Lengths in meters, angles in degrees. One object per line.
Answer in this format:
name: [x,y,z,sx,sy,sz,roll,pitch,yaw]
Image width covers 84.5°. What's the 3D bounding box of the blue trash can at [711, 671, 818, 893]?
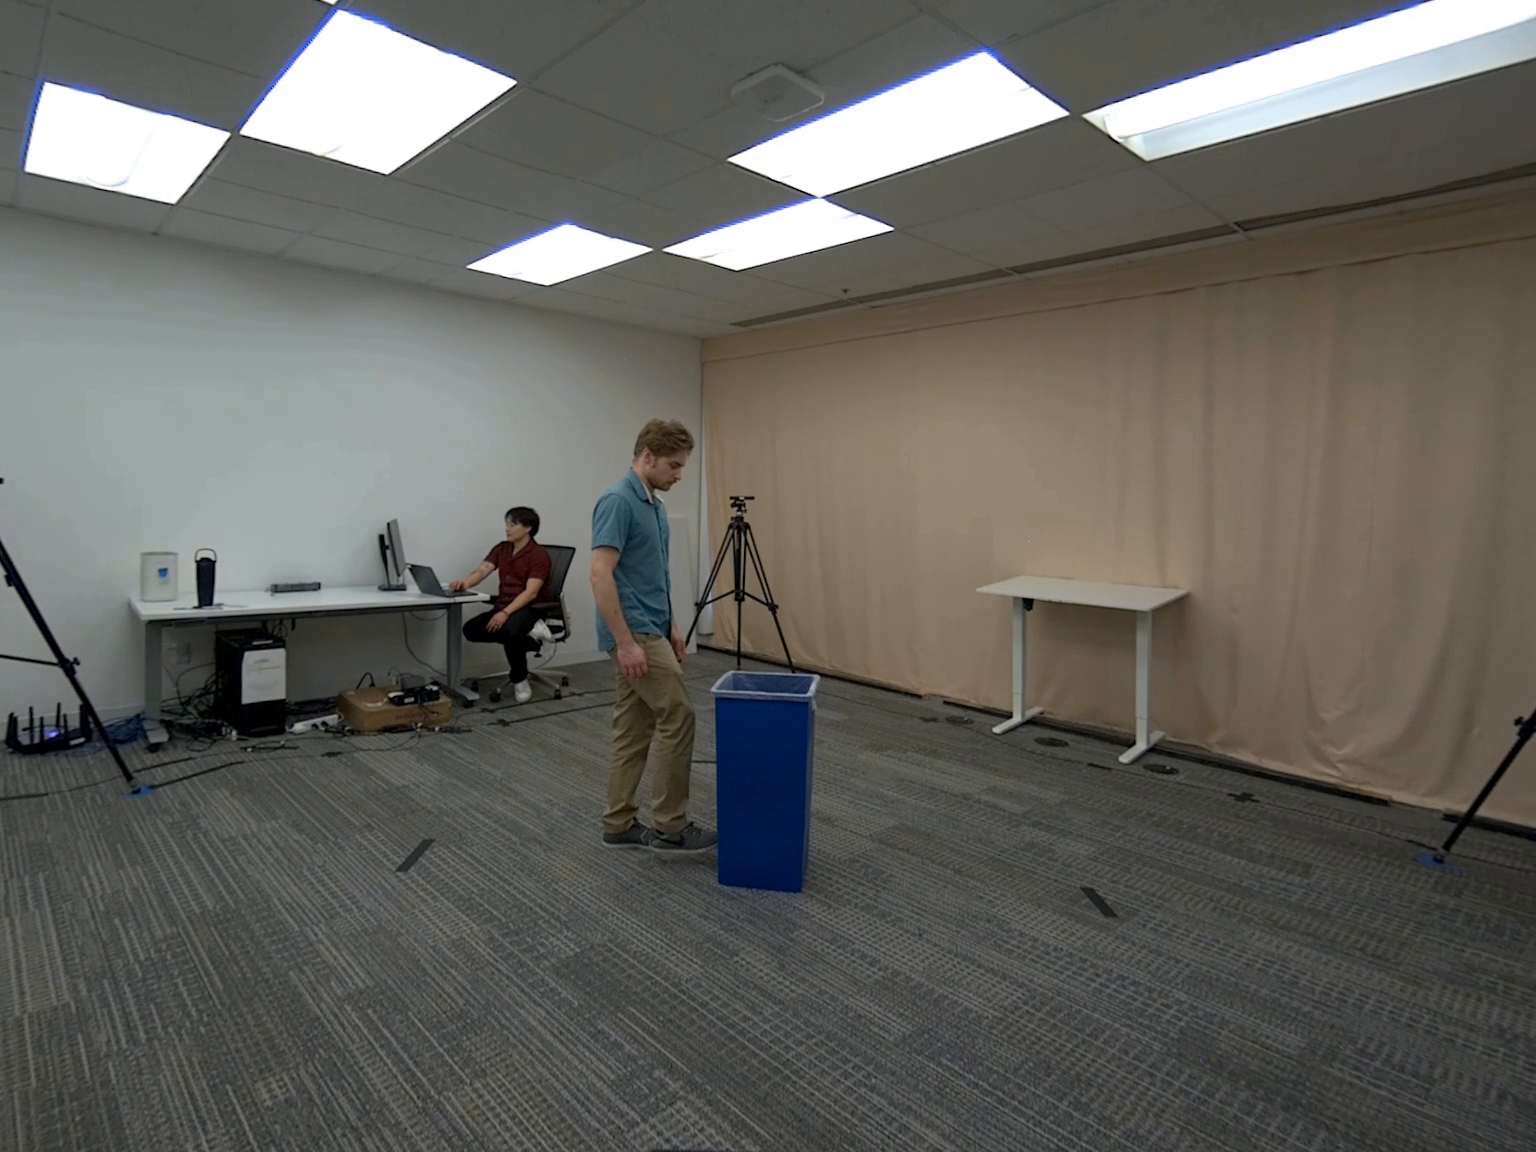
blue trash can: [-0.022,0.749,3.124,0.377,0.712,0.376,2,3,8]
